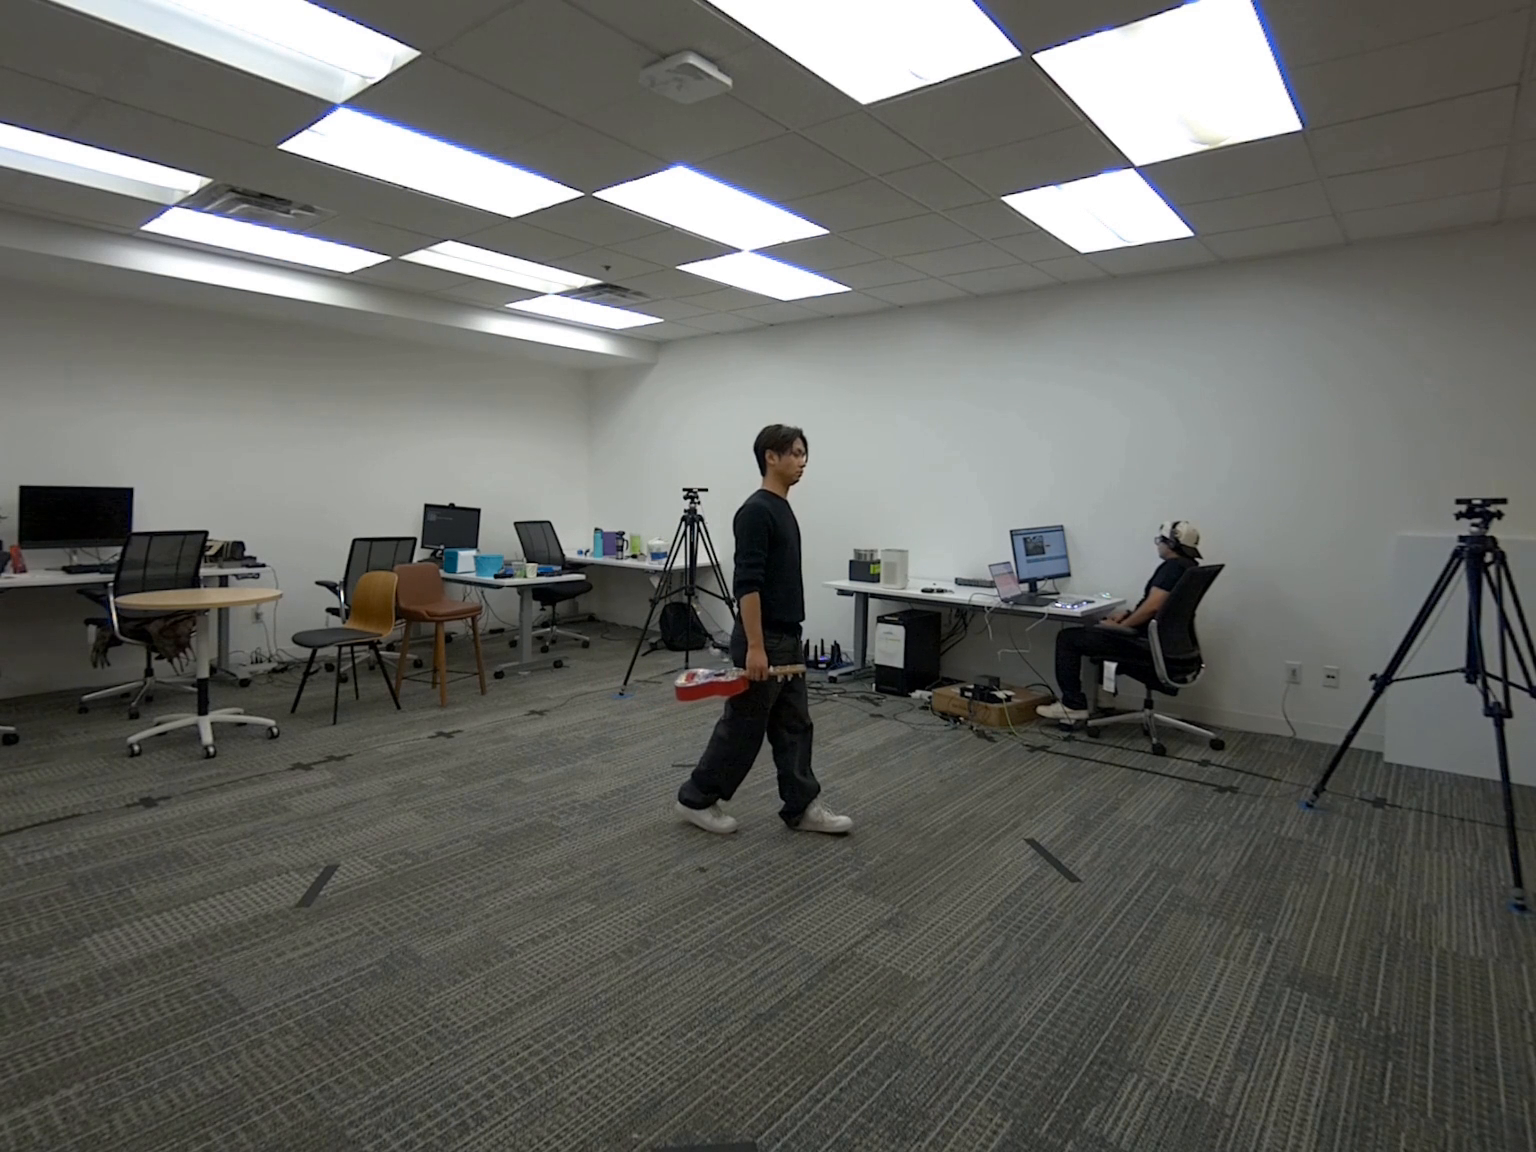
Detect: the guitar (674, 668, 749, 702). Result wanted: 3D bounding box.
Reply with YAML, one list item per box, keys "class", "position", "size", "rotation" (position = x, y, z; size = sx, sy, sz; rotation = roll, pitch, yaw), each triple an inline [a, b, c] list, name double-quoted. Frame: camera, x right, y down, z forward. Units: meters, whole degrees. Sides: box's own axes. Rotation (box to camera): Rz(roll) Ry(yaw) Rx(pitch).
- class: "guitar"
  position: [-0.116, 0.390, 3.167]
  size: [0.508, 0.070, 0.191]
  rotation: [-3, 12, 21]
